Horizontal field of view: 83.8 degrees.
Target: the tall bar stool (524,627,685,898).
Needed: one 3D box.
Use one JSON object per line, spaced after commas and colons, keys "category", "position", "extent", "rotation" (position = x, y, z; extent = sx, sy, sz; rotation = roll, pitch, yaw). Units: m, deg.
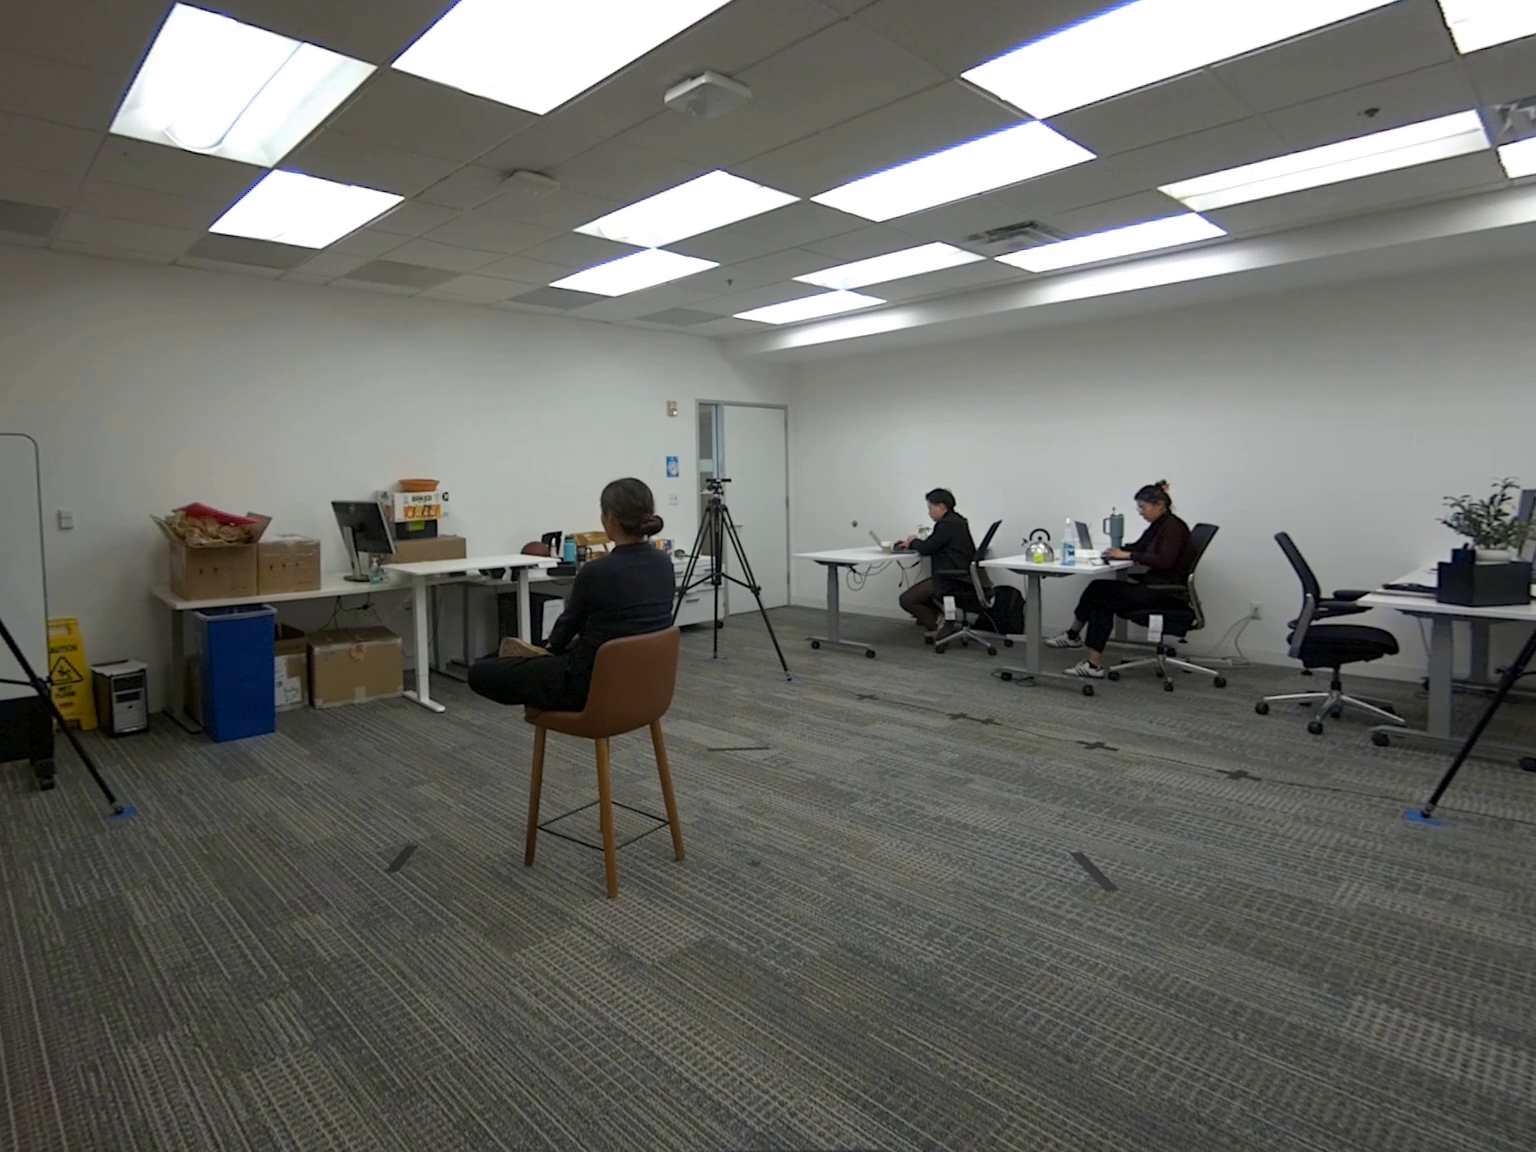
{"category": "tall bar stool", "position": [-0.593, 0.619, 3.109], "extent": [0.482, 0.885, 0.445], "rotation": [5, 7, 37]}
